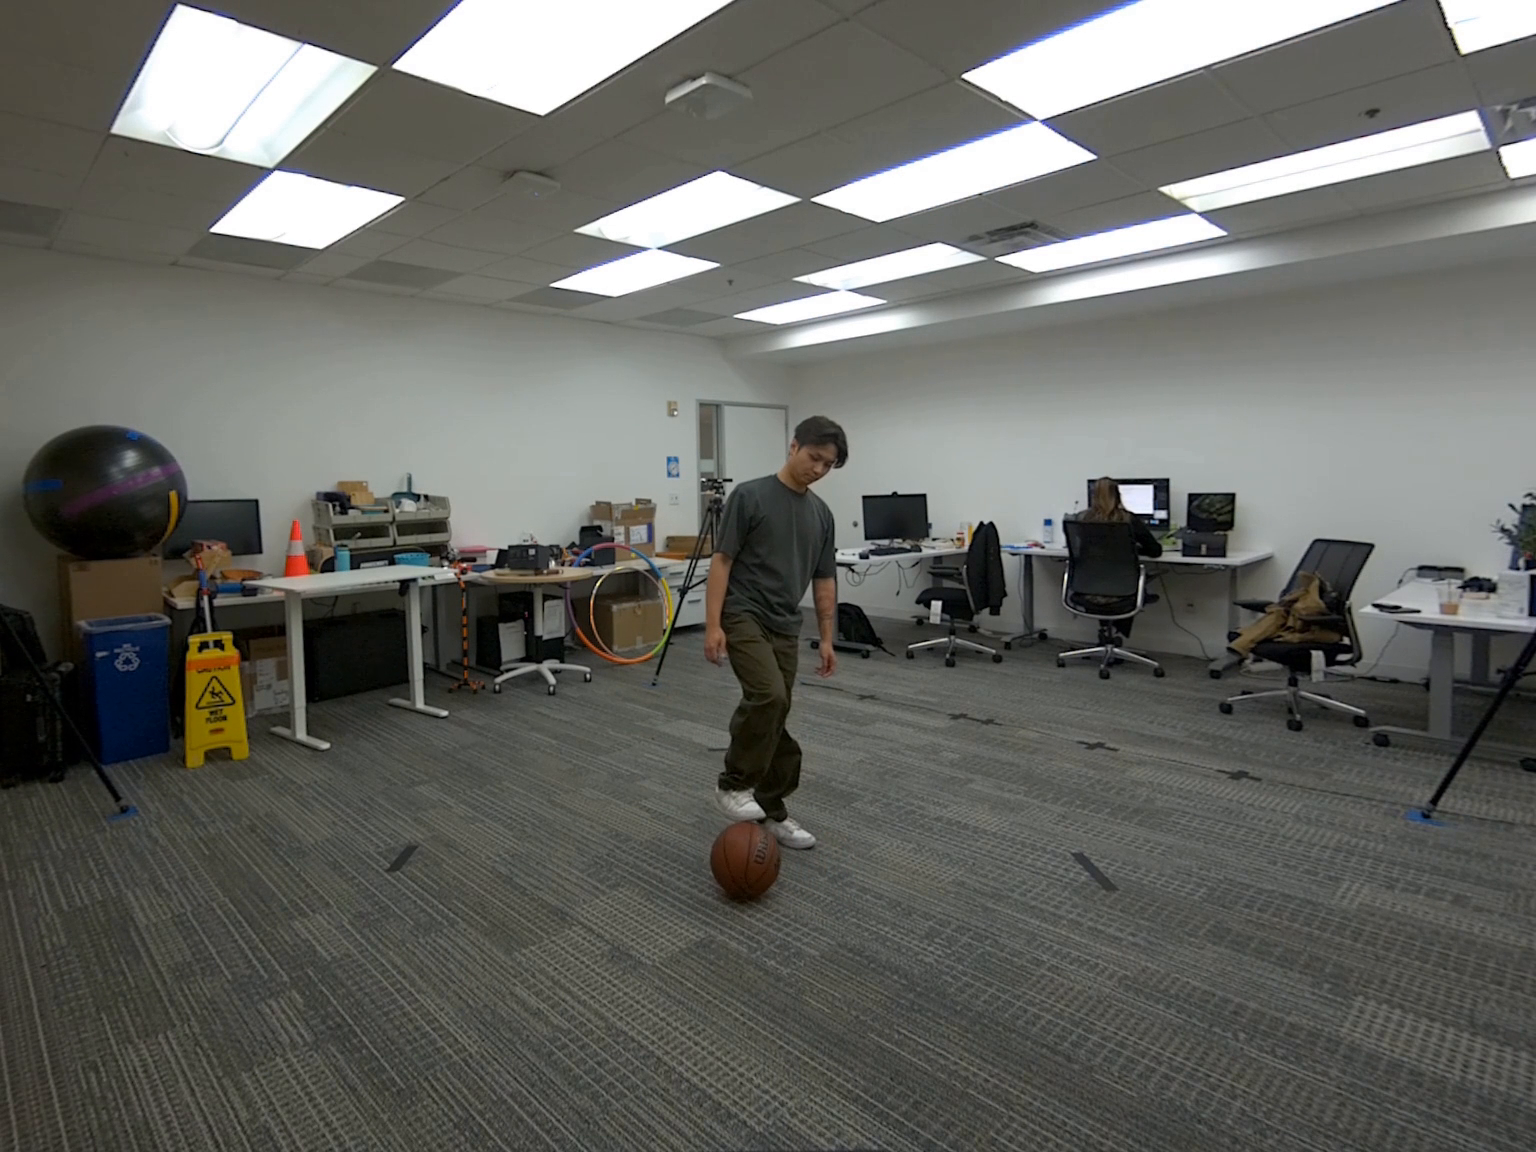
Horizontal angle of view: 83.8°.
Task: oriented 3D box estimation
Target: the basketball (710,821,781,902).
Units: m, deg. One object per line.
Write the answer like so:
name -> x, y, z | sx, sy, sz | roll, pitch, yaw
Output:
basketball -> -0.073, 0.954, 2.870 | 0.236, 0.235, 0.237 | -1, 5, -2
